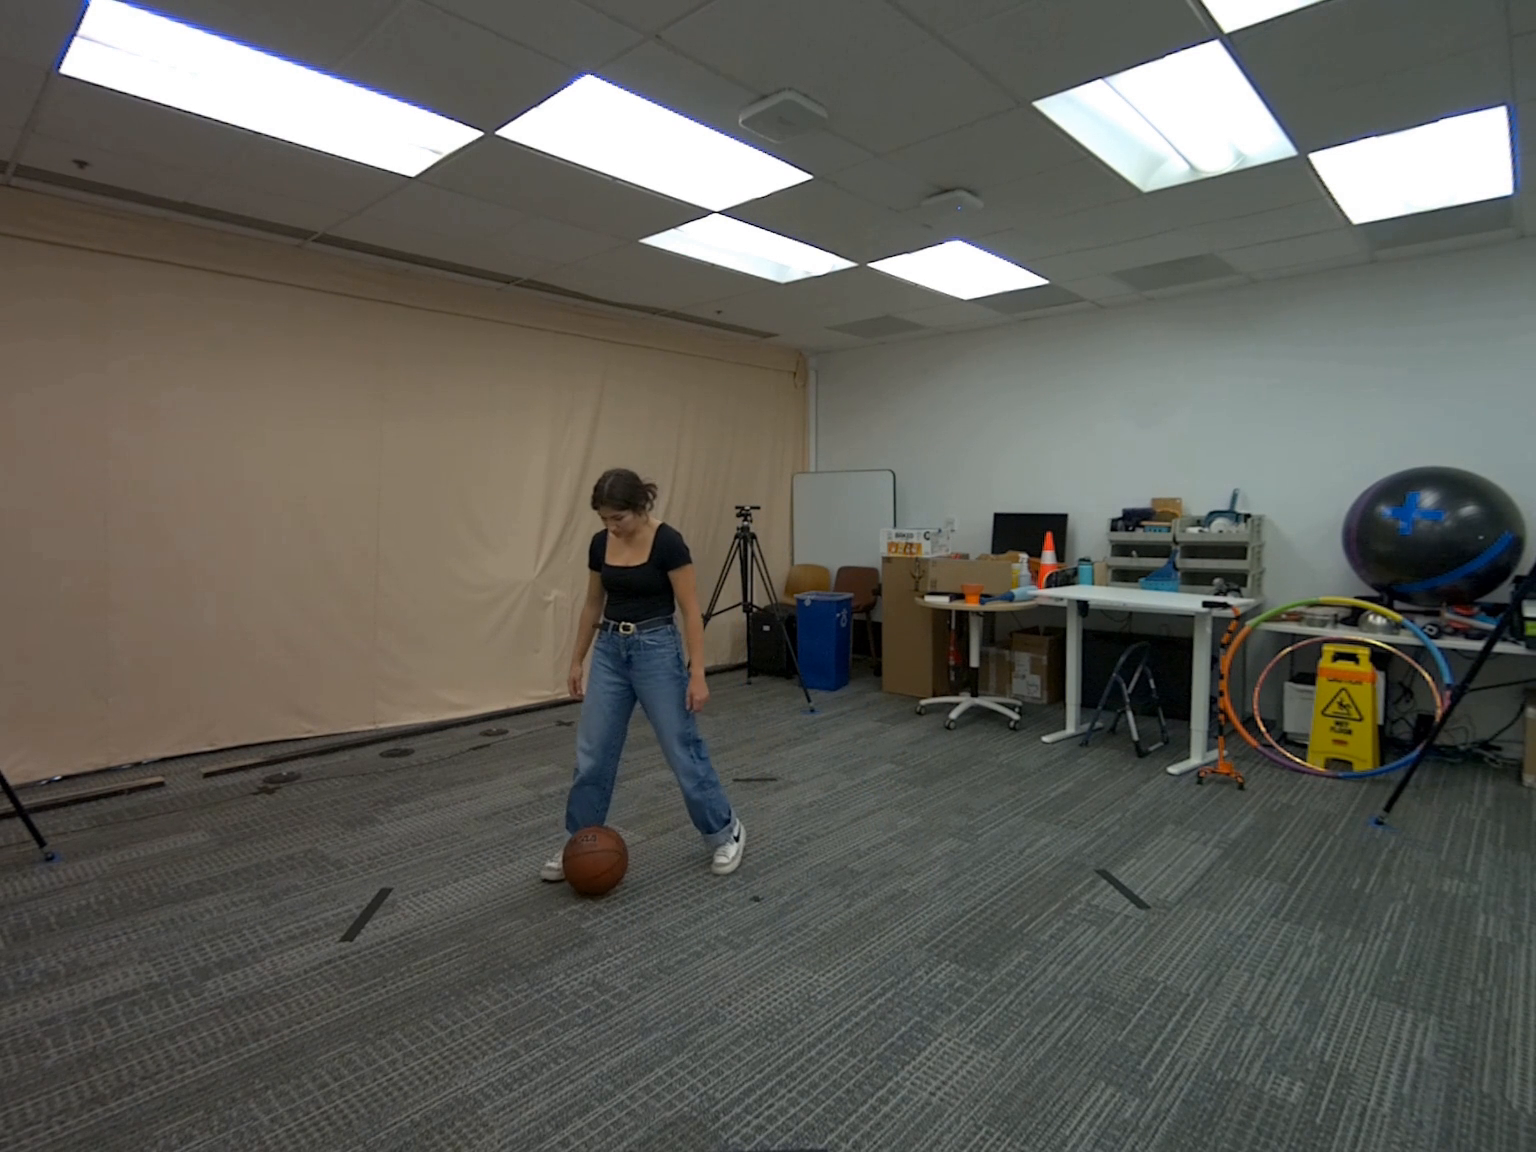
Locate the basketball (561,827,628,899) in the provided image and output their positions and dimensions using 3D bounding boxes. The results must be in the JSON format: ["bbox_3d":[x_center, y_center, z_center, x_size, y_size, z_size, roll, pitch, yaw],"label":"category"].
[{"bbox_3d":[-0.624,1.025,3.040,0.236,0.235,0.237,0,4,-2],"label":"basketball"}]
